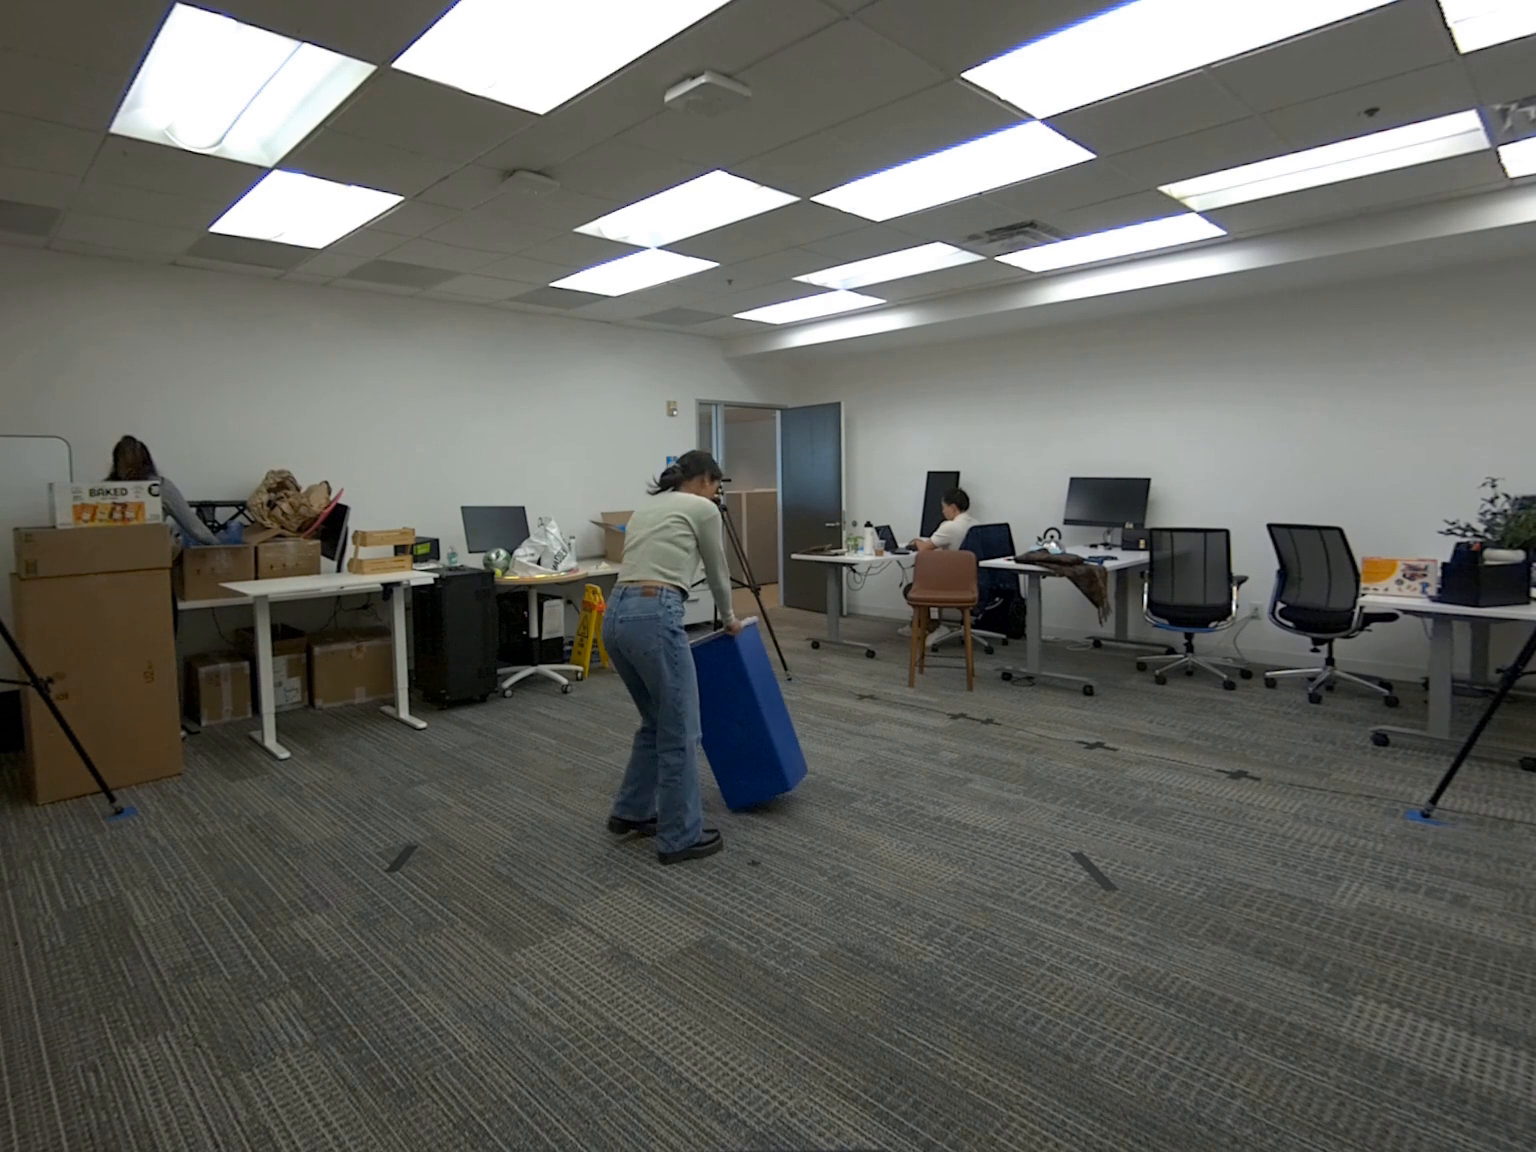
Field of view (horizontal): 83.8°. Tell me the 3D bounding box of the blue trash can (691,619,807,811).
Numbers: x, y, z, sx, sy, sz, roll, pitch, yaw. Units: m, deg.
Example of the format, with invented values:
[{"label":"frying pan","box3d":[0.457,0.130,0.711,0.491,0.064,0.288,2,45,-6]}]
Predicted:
[{"label":"blue trash can","box3d":[-0.116,0.587,3.689,0.381,0.720,0.368,-24,-7,17]}]
